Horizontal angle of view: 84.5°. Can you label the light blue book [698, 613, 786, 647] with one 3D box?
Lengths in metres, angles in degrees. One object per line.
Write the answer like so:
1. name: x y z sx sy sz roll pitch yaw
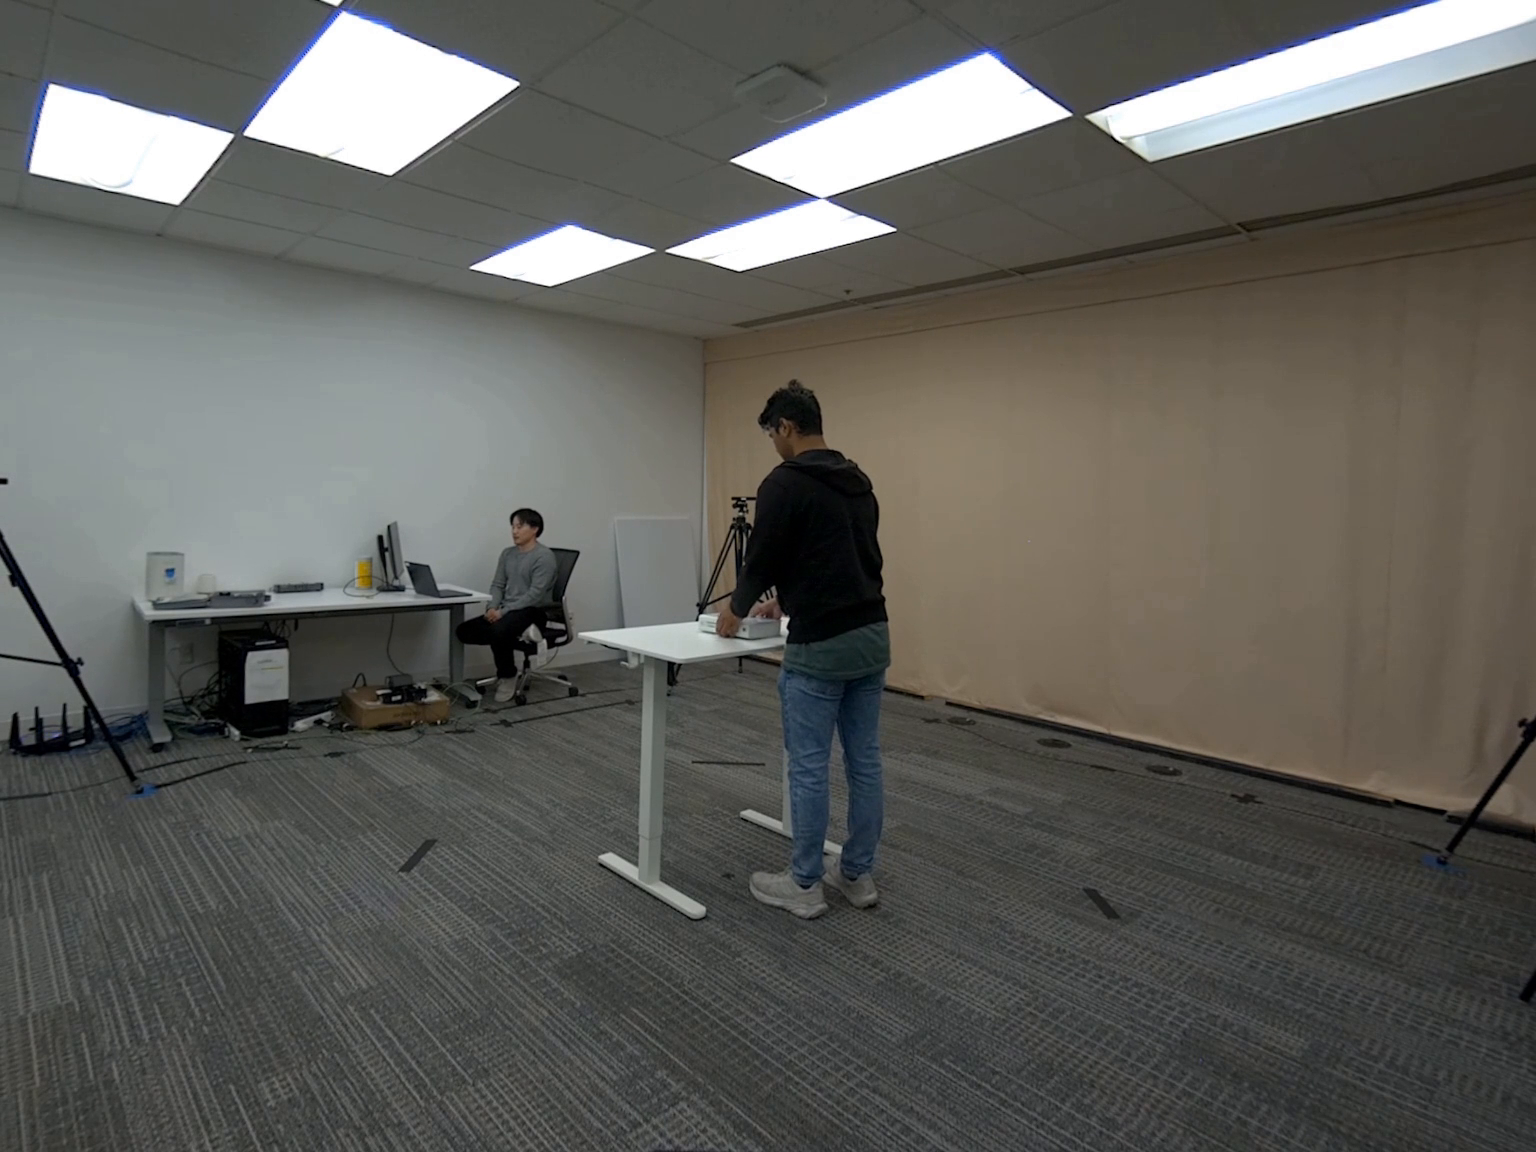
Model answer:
1. light blue book: -0.104 0.188 3.188 0.268 0.059 0.187 6 5 41
